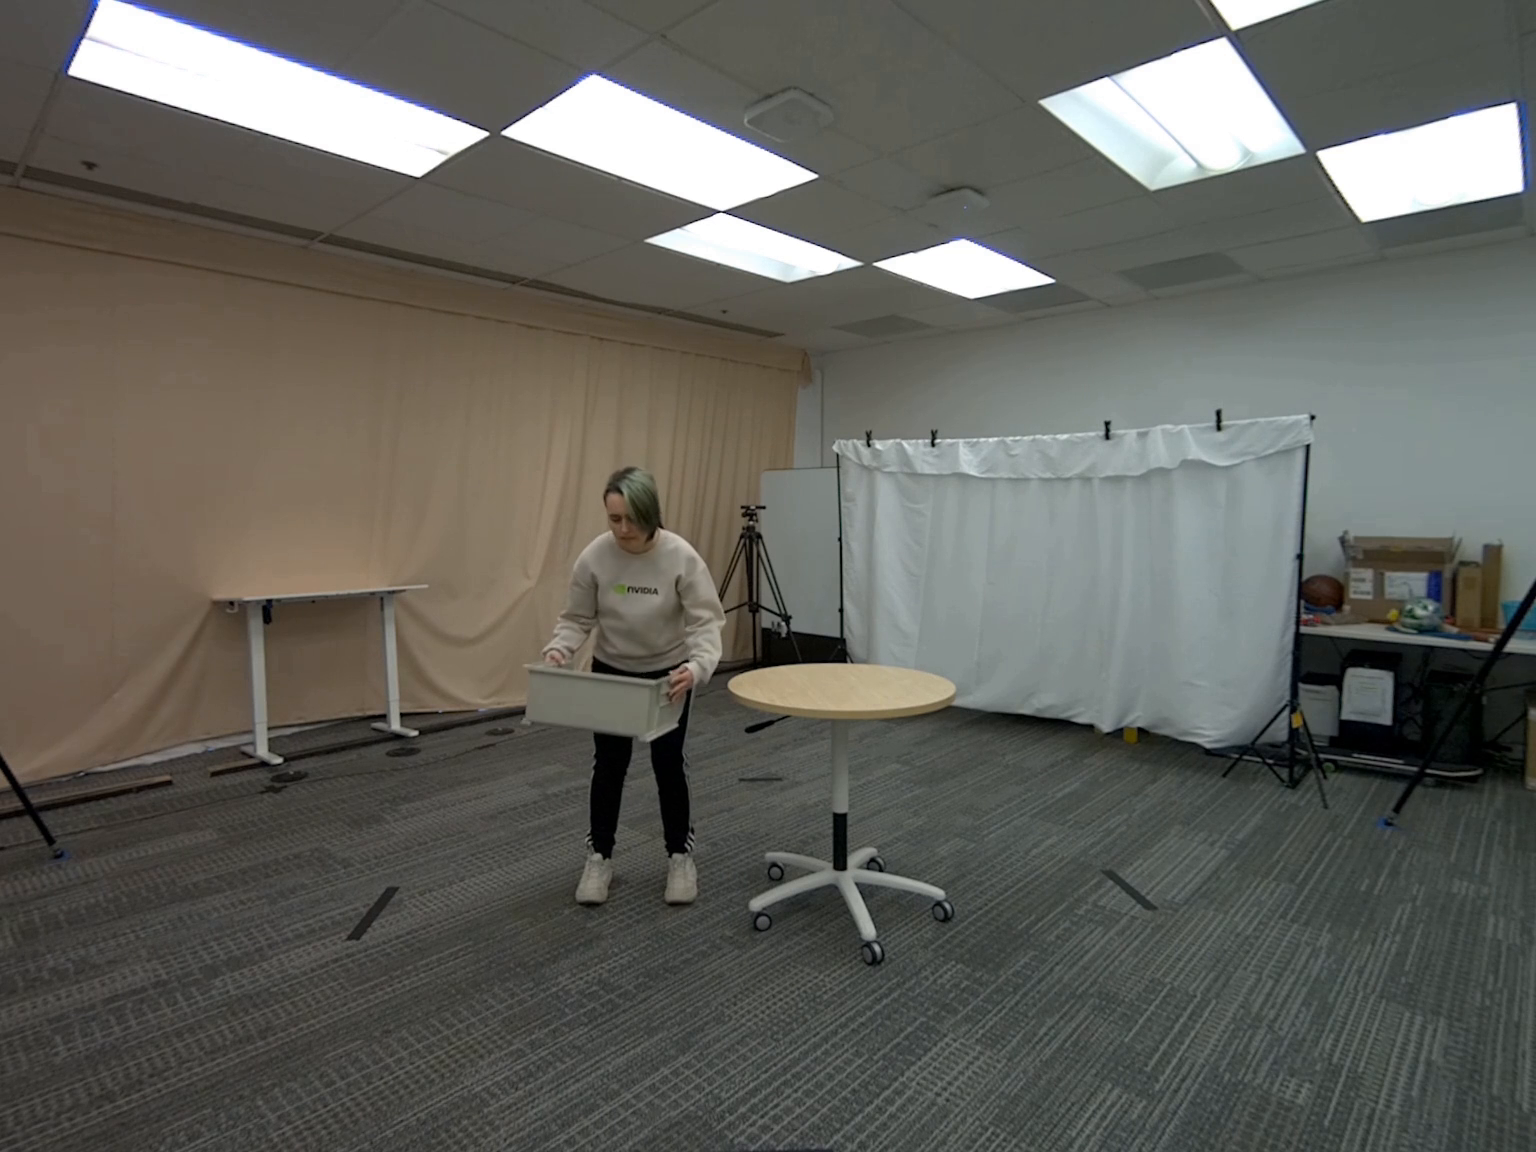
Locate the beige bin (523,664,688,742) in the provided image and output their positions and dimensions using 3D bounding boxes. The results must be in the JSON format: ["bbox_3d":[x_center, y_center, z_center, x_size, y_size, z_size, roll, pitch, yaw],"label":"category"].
[{"bbox_3d":[-0.511,0.388,2.676,0.428,0.189,0.372,5,1,12],"label":"beige bin"}]
